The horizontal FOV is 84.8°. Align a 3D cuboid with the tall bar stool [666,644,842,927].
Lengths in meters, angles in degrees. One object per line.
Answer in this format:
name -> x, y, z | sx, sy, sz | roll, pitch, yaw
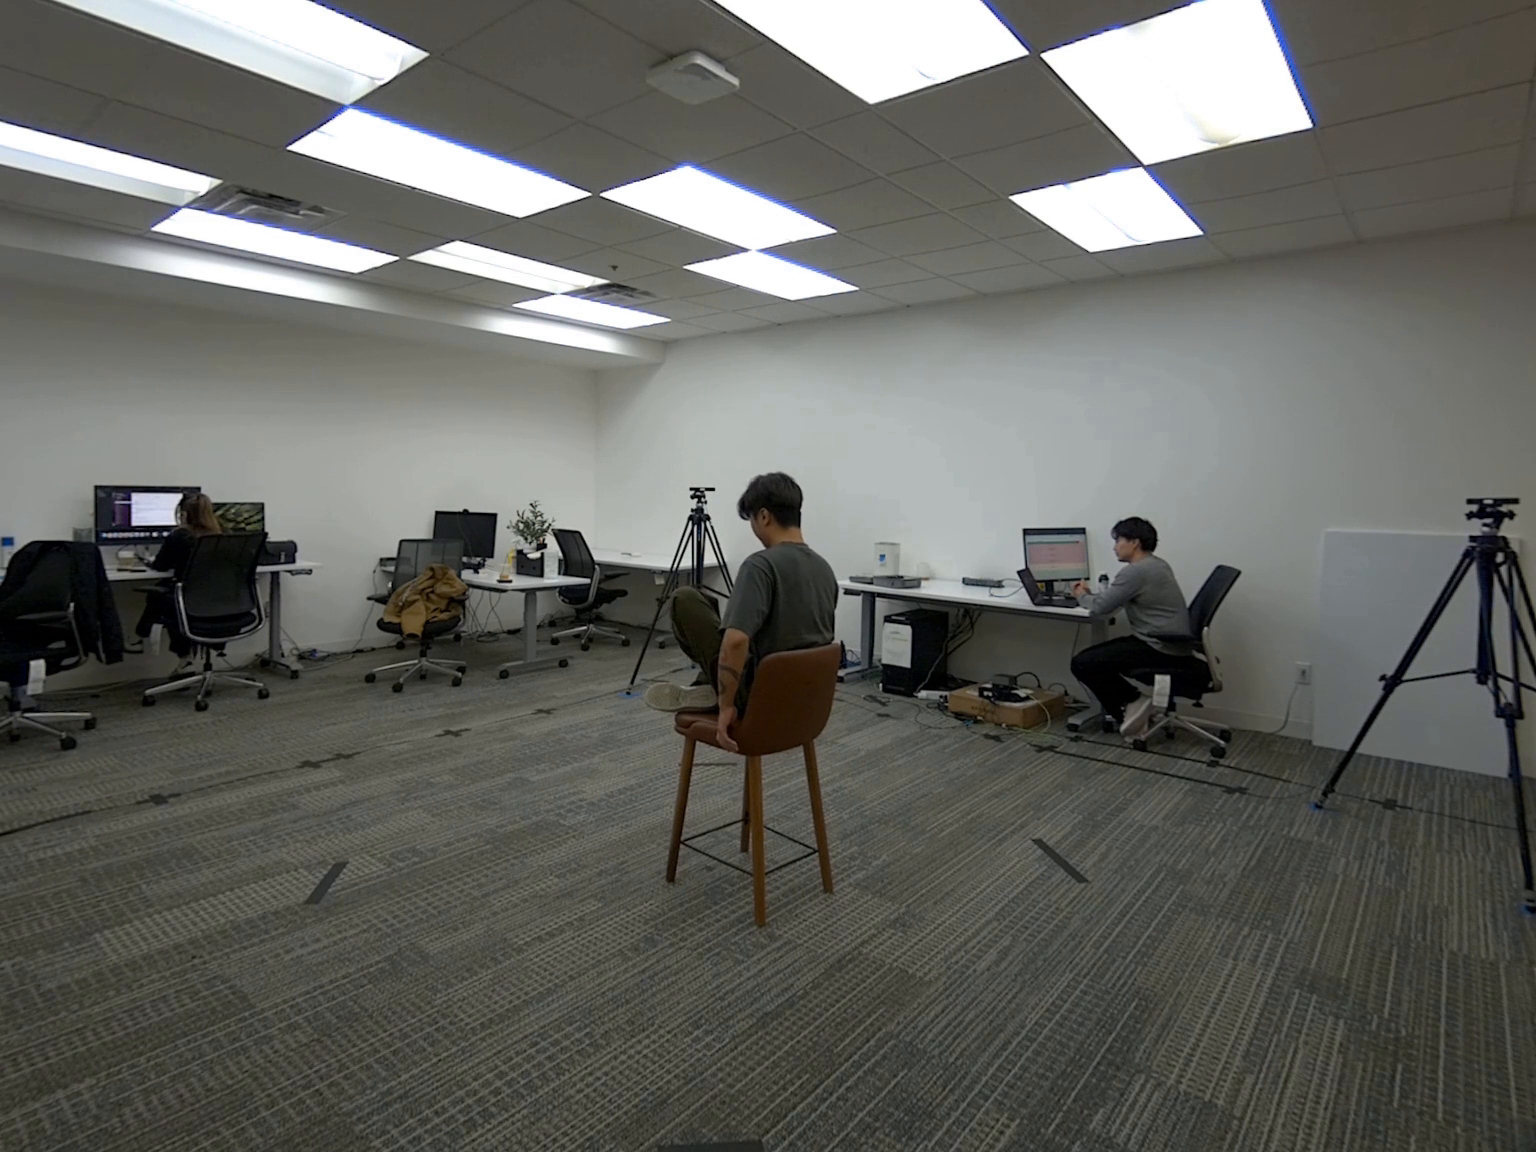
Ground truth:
tall bar stool -> -0.055, 0.649, 2.956 | 0.484, 0.886, 0.442 | 7, 6, 44
